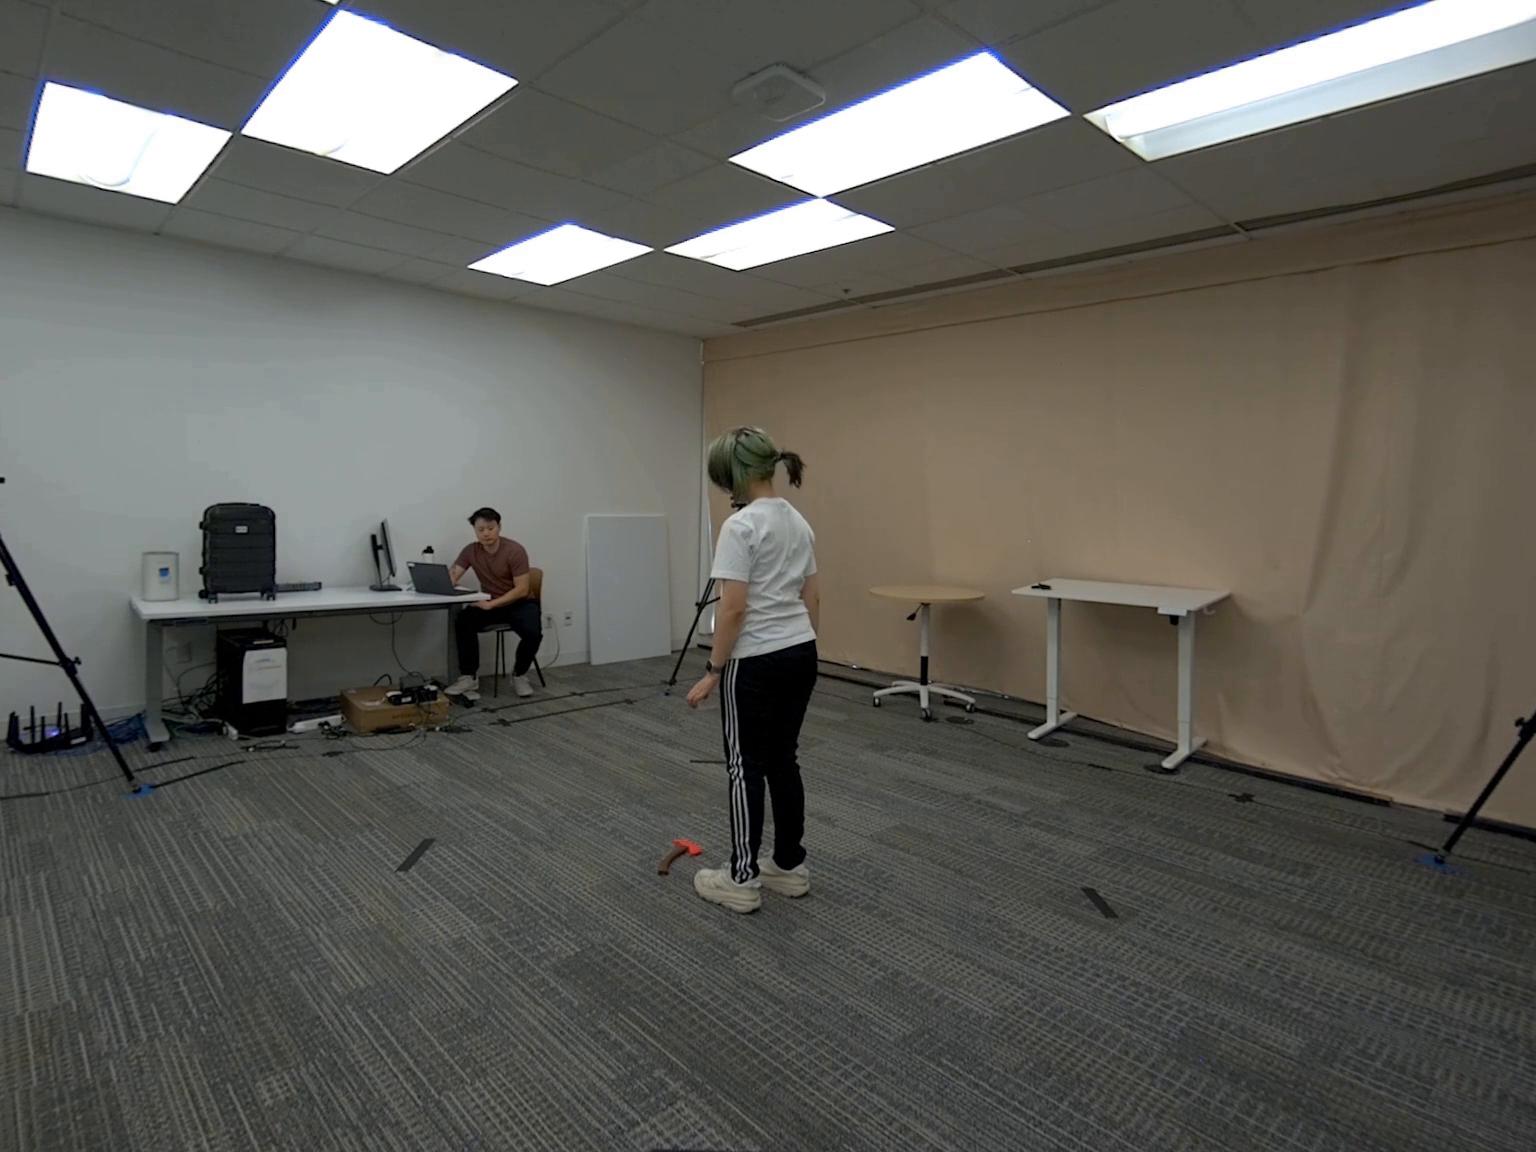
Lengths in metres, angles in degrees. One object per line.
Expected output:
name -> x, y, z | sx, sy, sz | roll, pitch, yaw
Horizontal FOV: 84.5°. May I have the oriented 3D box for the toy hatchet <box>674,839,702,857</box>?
toy hatchet -> -0.336, 1.084, 3.213 | 0.132, 0.029, 0.270 | 6, 9, 6
